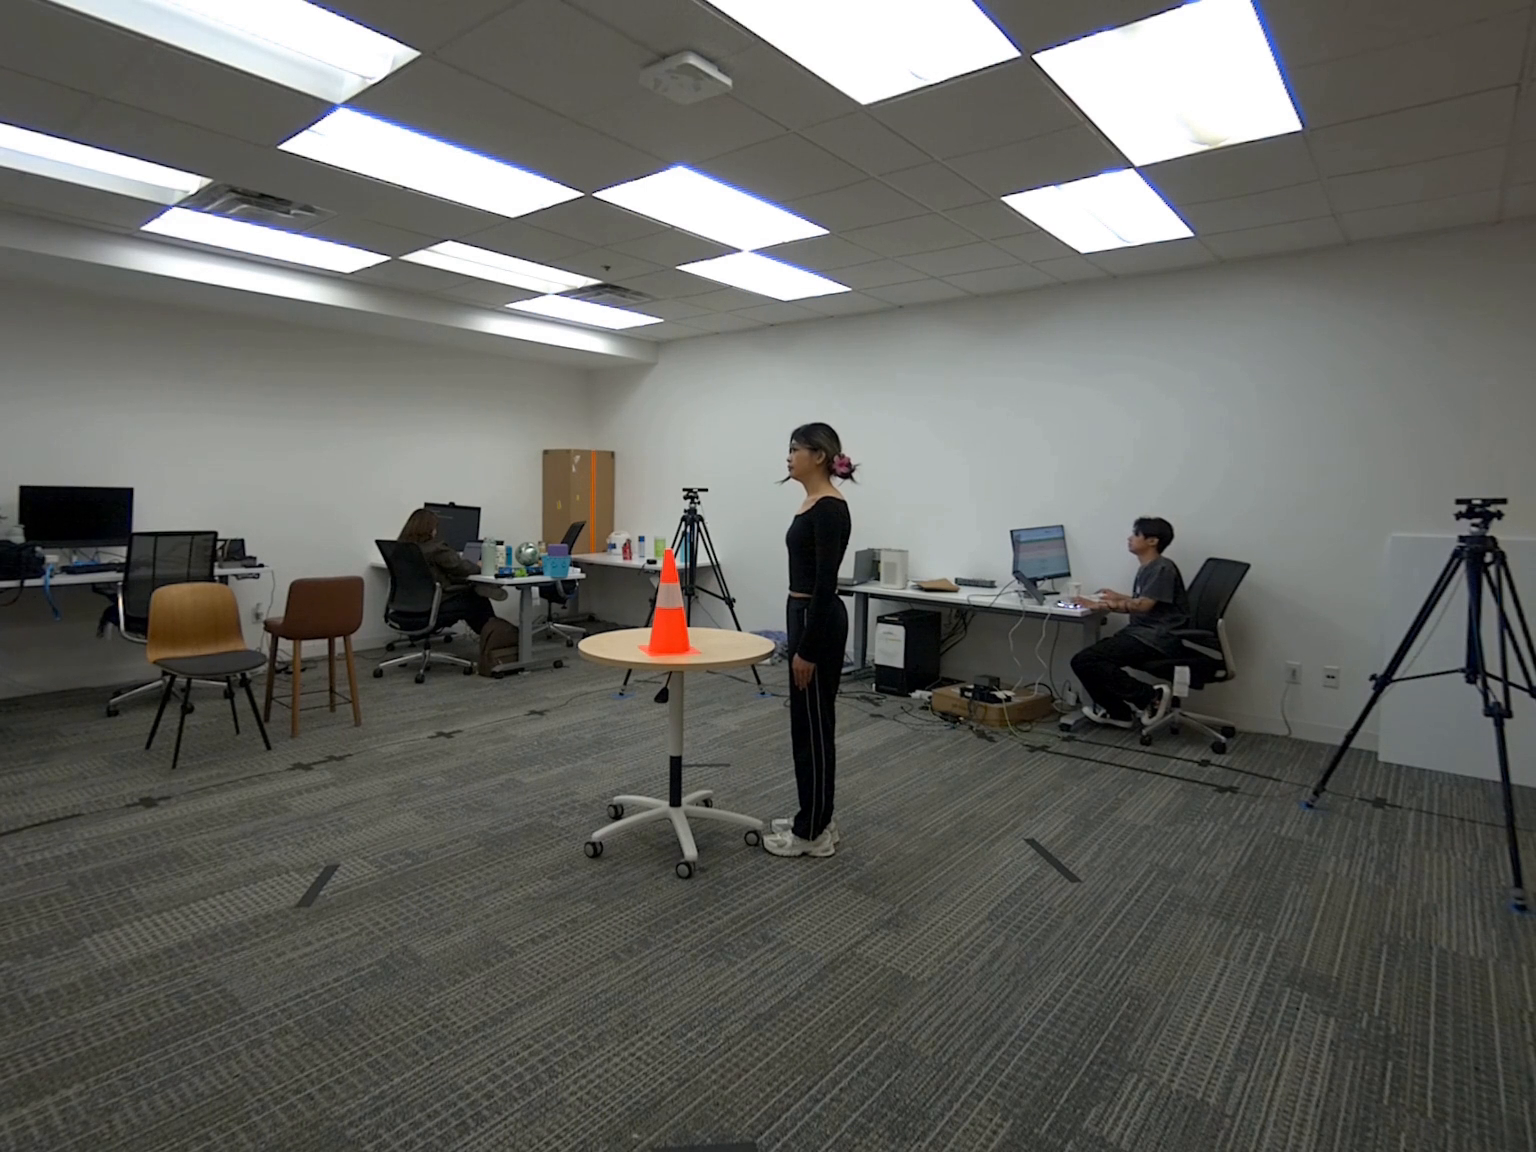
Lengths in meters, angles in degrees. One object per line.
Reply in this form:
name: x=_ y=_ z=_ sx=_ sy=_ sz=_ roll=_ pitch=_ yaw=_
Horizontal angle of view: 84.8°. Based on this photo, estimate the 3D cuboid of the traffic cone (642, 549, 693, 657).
traffic cone: x=-0.379 y=0.089 z=3.191 sx=0.200 sy=0.383 sz=0.209 roll=-1 pitch=3 yaw=-19
